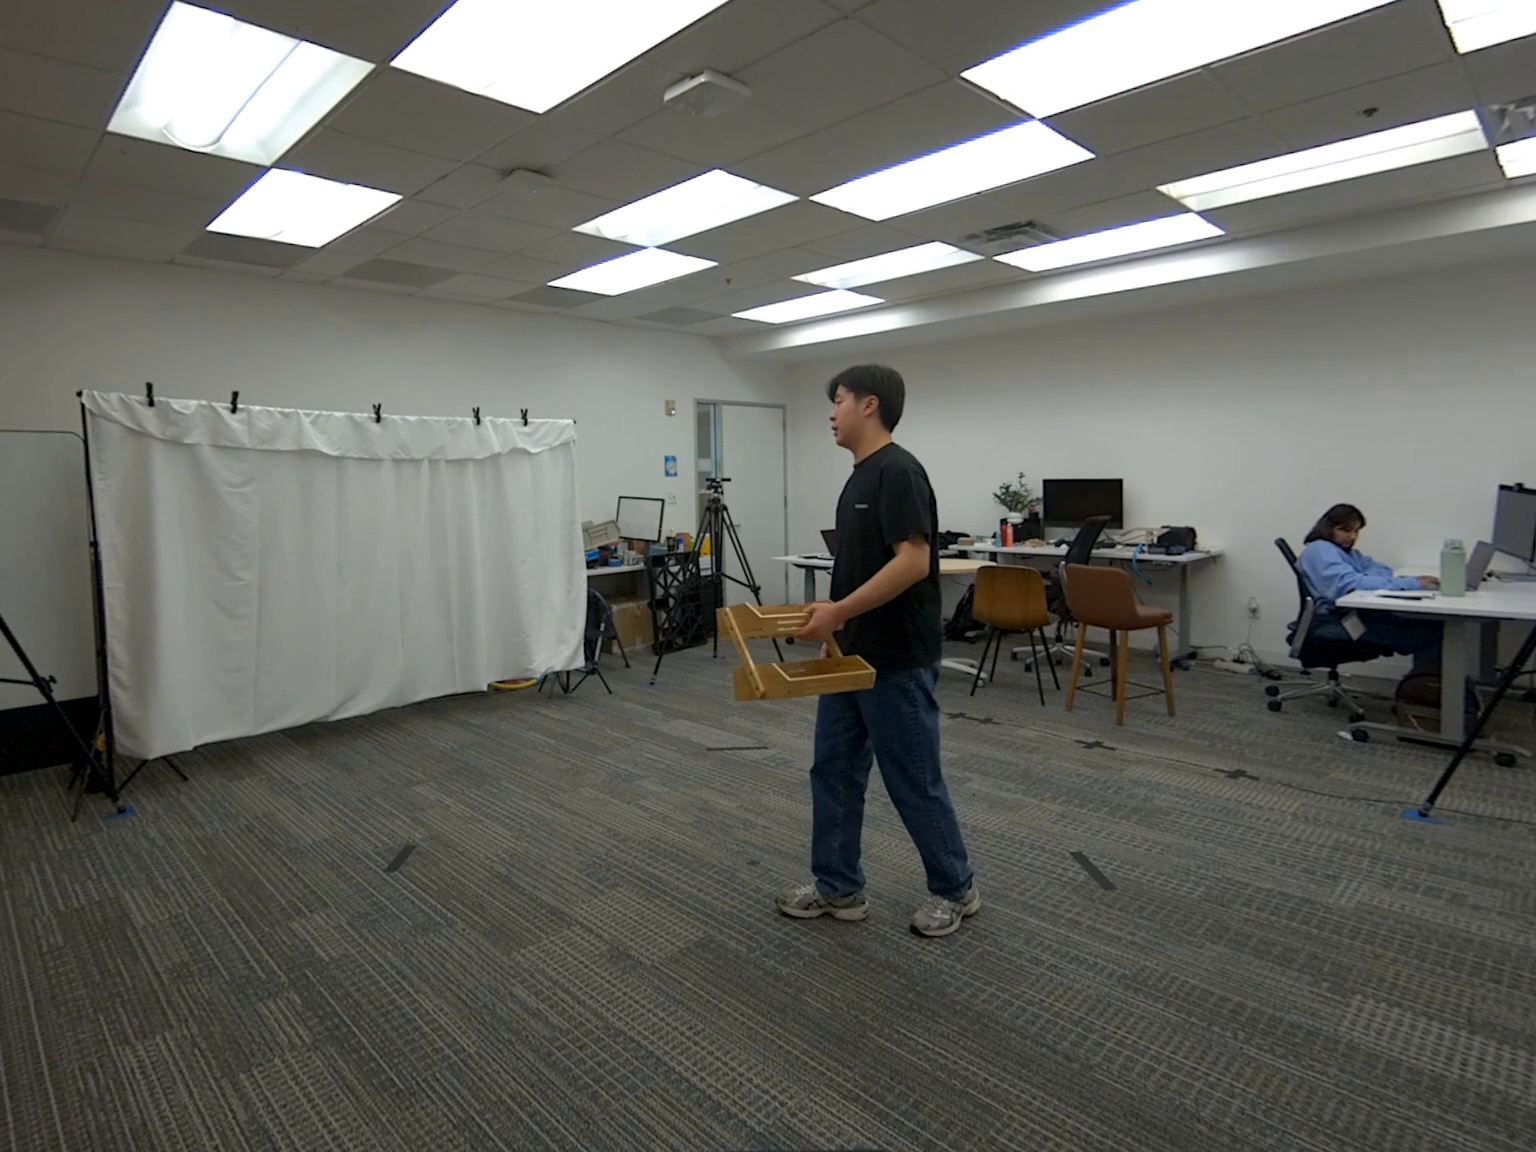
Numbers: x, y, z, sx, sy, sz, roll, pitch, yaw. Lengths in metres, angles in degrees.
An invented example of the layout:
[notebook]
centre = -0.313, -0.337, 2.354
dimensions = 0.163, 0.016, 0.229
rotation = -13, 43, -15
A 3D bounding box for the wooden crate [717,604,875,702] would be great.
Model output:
[wooden crate]
centre = 0.081, 0.195, 2.368
dimensions = 0.316, 0.276, 0.307
rotation = -1, -9, -34
